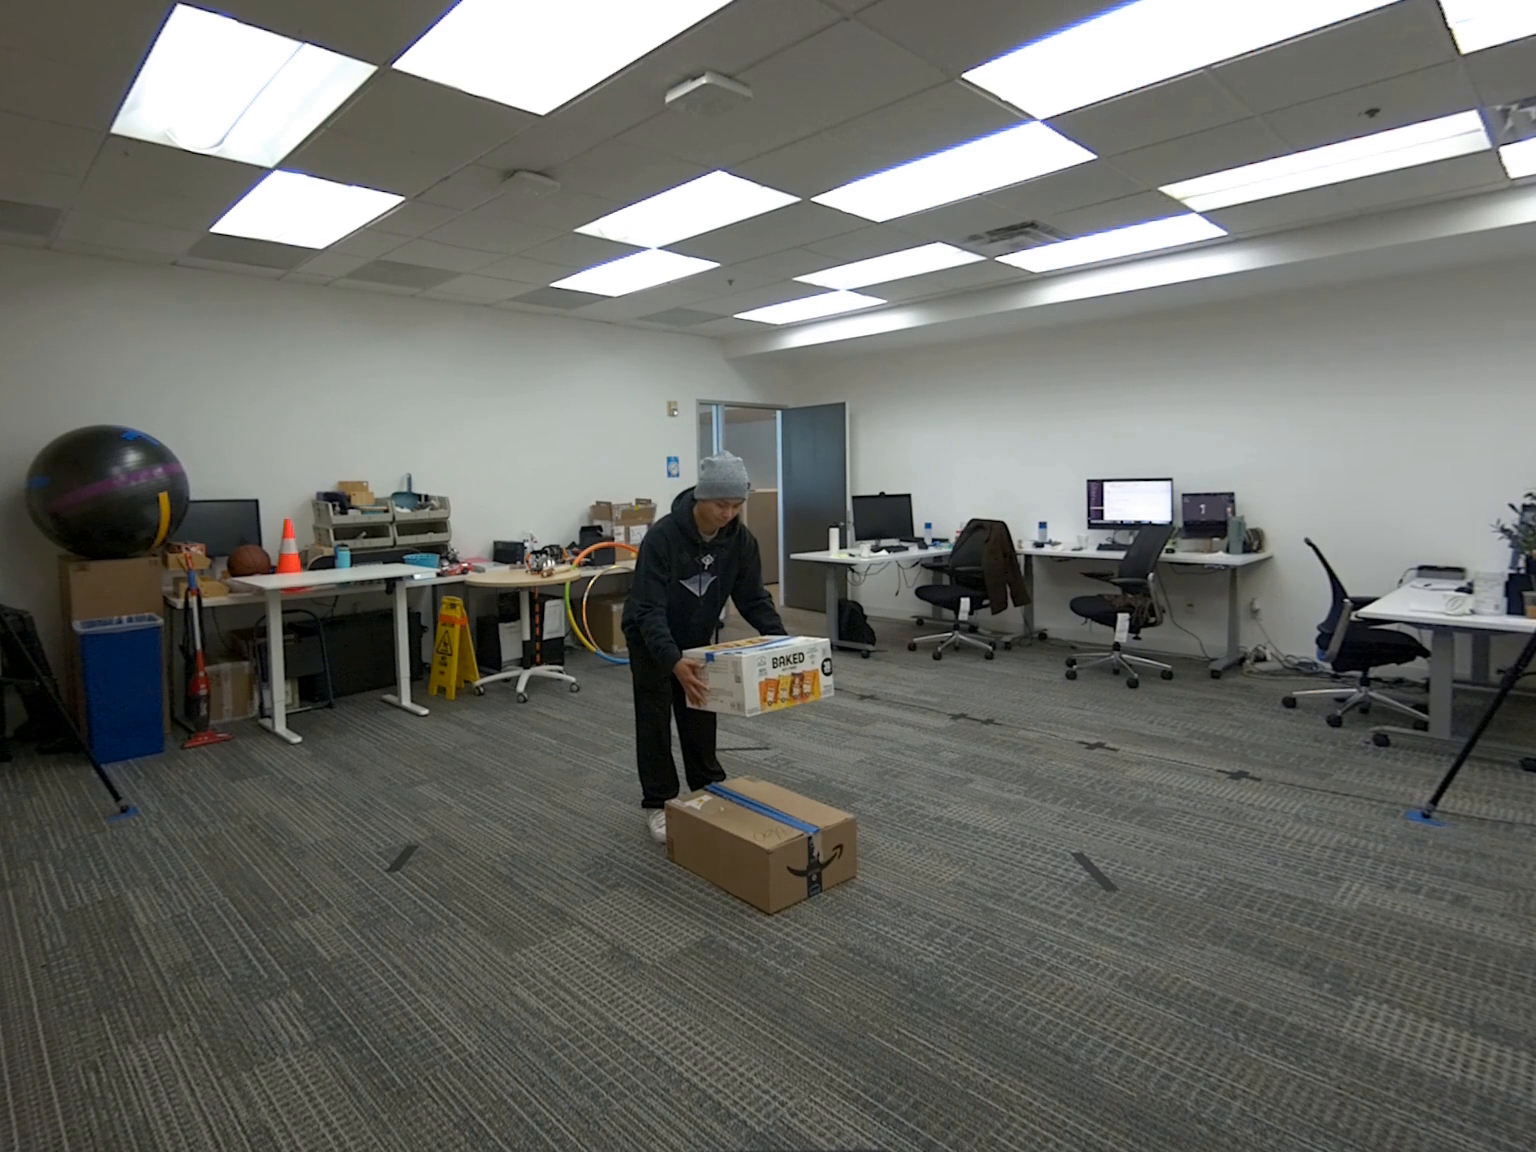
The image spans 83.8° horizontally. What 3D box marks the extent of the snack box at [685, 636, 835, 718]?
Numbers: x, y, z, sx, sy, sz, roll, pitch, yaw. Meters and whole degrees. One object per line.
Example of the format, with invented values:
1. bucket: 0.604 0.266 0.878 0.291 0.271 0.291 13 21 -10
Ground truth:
1. snack box: -0.032 0.344 3.009 0.395 0.205 0.349 -7 2 -39
